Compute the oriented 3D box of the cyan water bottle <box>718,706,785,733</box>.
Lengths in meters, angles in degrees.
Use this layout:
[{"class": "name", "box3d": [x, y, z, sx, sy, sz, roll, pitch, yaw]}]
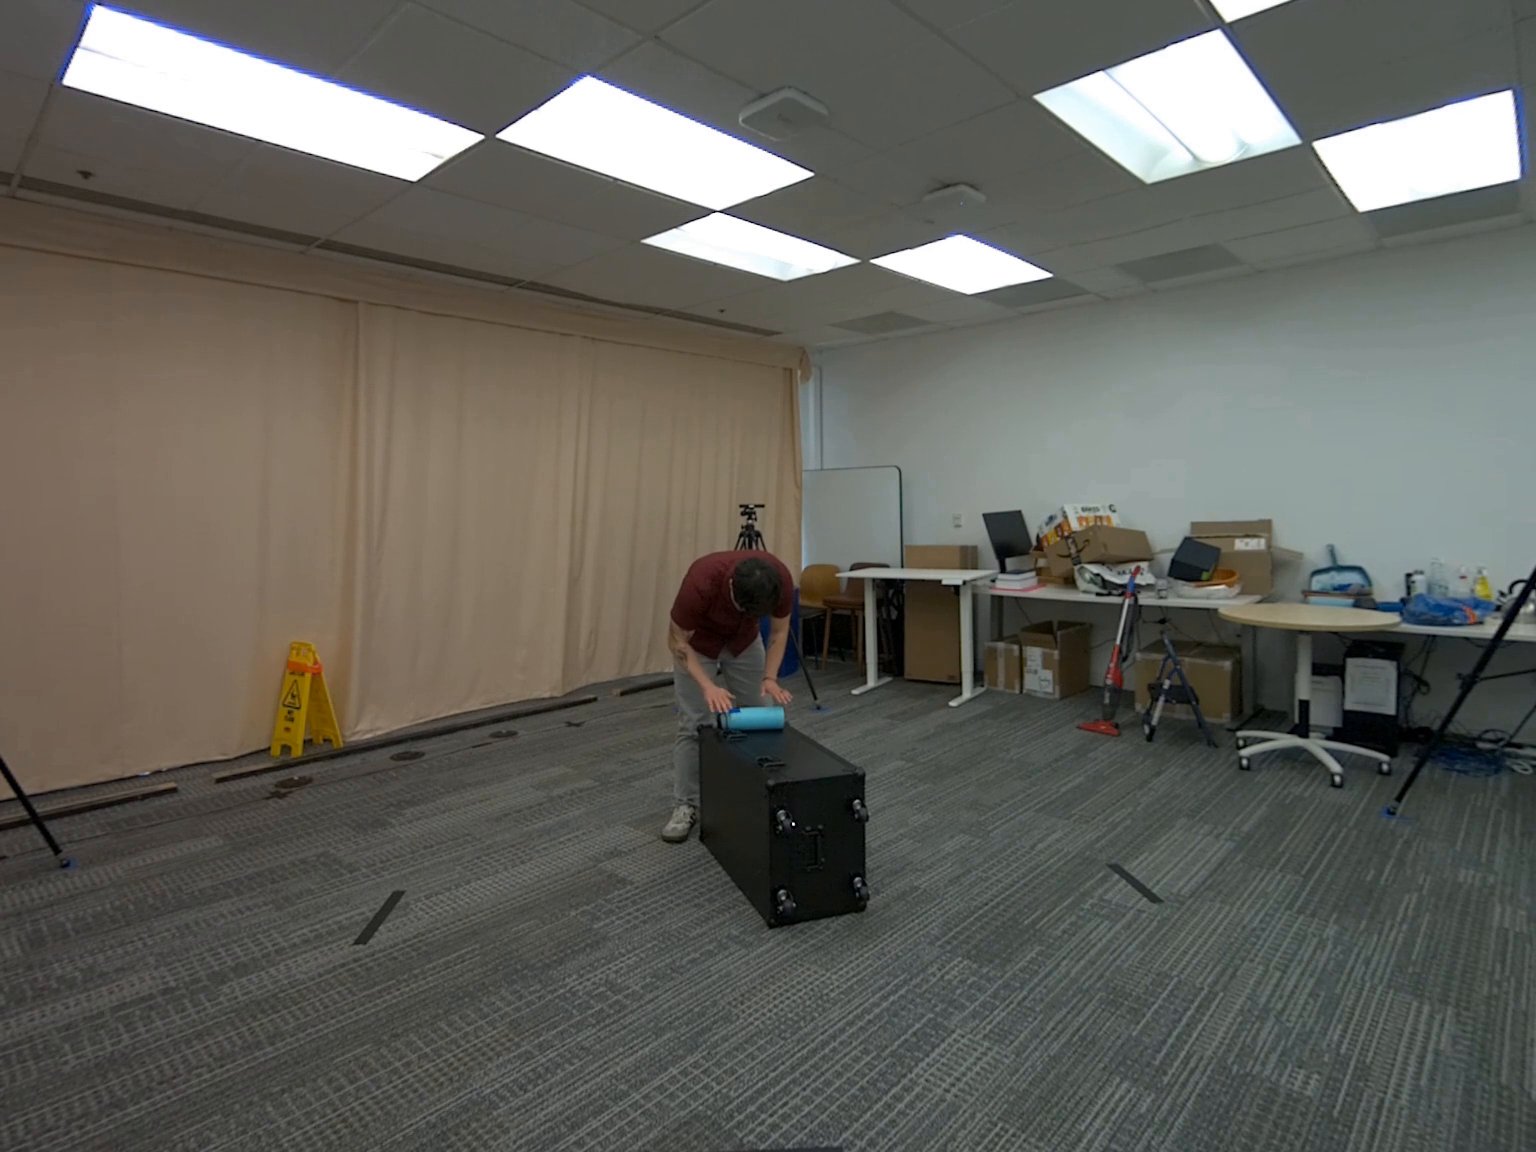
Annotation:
[{"class": "cyan water bottle", "box3d": [-0.073, 0.577, 3.399, 0.282, 0.092, 0.093, -2, 4, -4]}]
